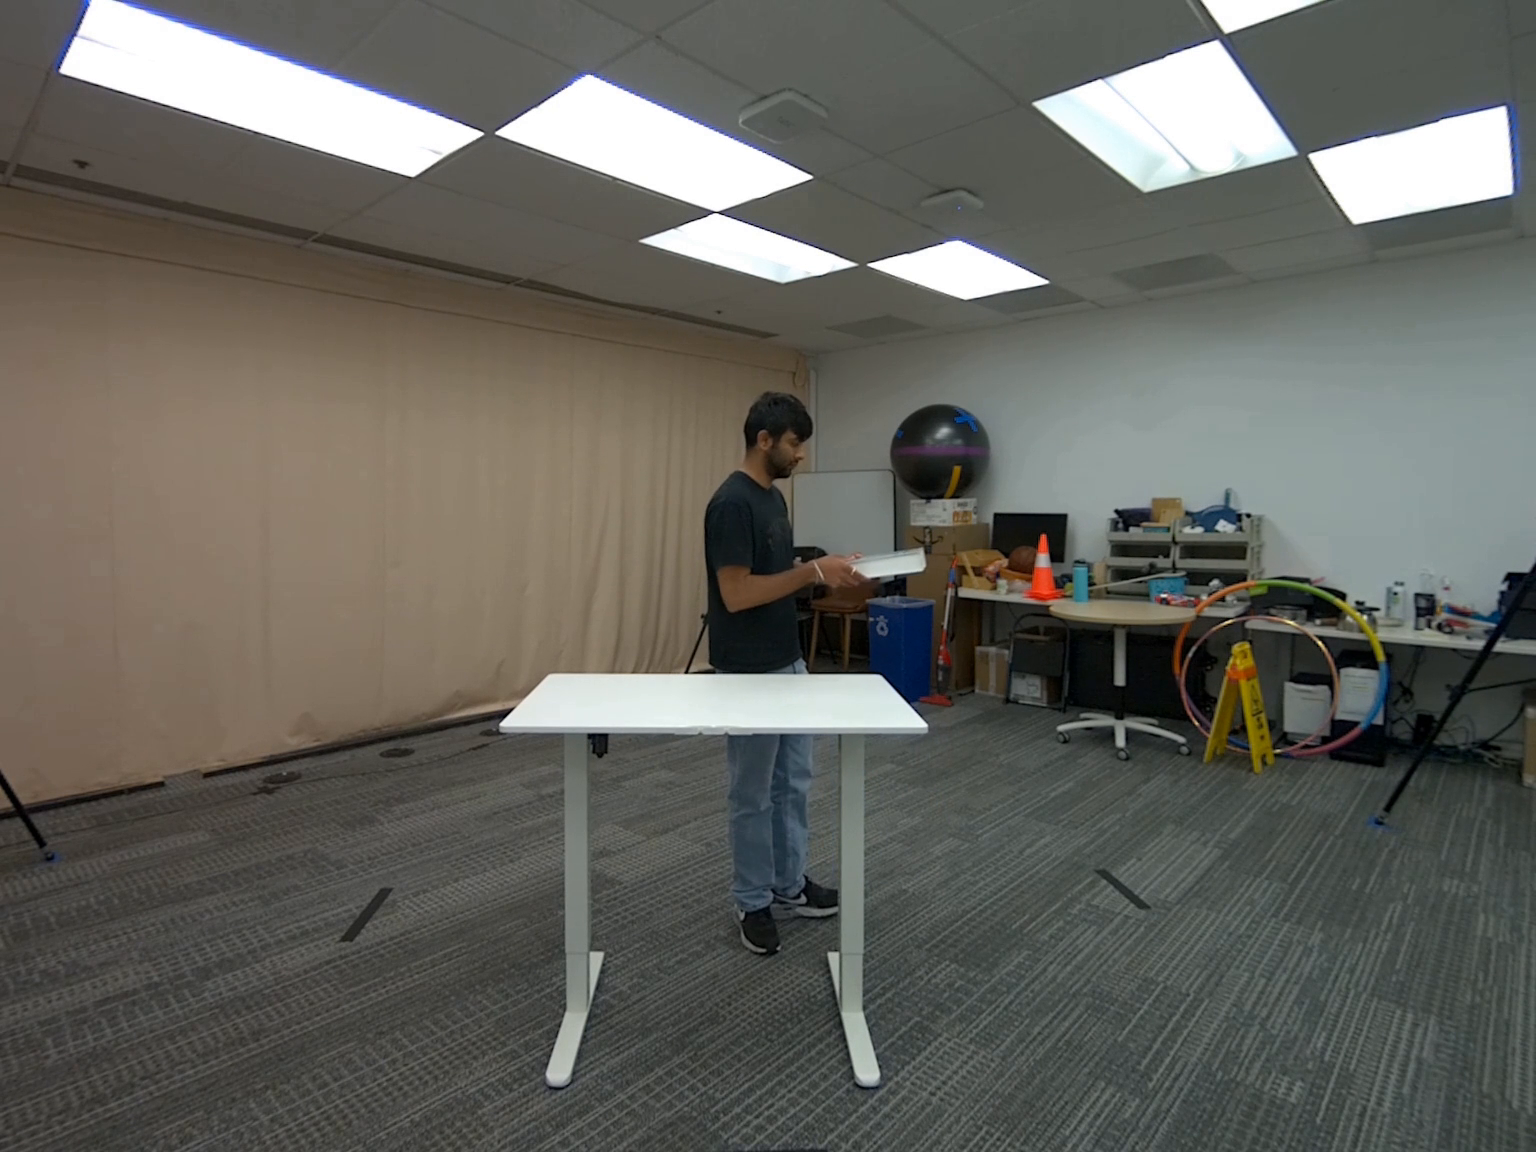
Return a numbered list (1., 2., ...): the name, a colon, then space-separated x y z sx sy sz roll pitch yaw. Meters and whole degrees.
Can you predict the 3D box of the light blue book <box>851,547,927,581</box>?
1. light blue book: 0.362 -0.033 2.585 0.263 0.059 0.190 -7 4 7
